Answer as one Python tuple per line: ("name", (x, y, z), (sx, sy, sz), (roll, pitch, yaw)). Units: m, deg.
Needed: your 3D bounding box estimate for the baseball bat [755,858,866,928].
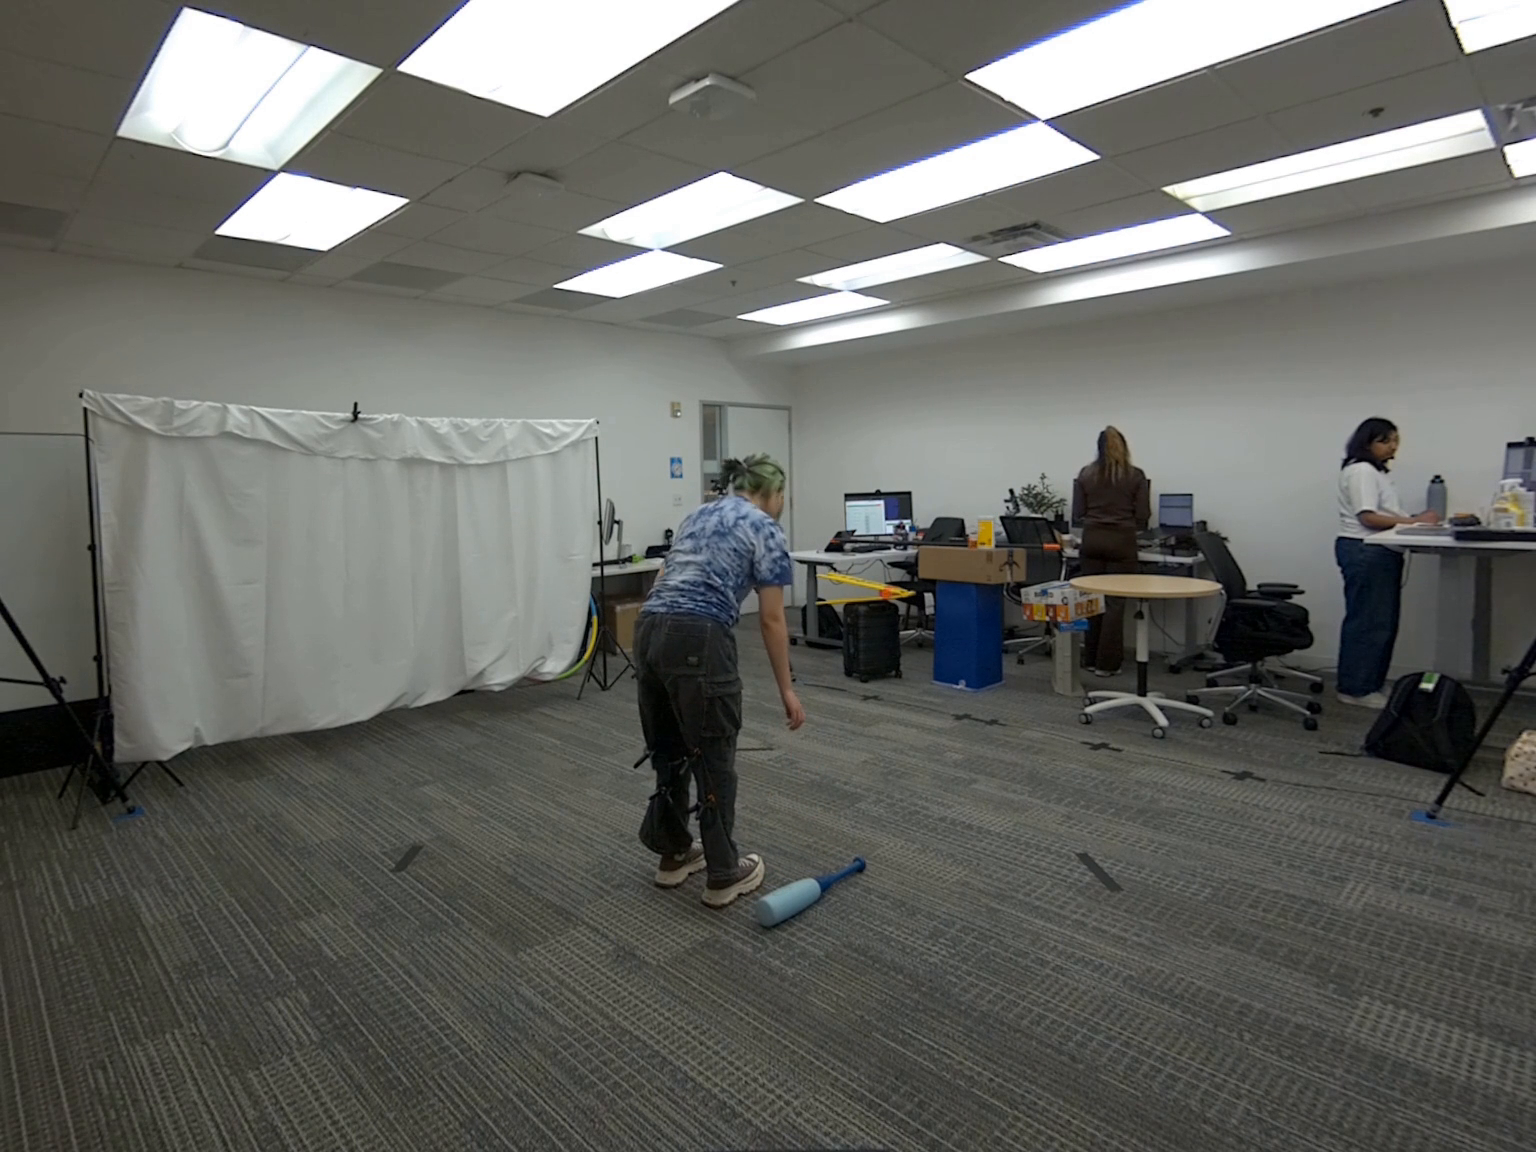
("baseball bat", (0.160, 1.036, 2.840), (0.092, 0.089, 0.528), (3, 4, 41))
